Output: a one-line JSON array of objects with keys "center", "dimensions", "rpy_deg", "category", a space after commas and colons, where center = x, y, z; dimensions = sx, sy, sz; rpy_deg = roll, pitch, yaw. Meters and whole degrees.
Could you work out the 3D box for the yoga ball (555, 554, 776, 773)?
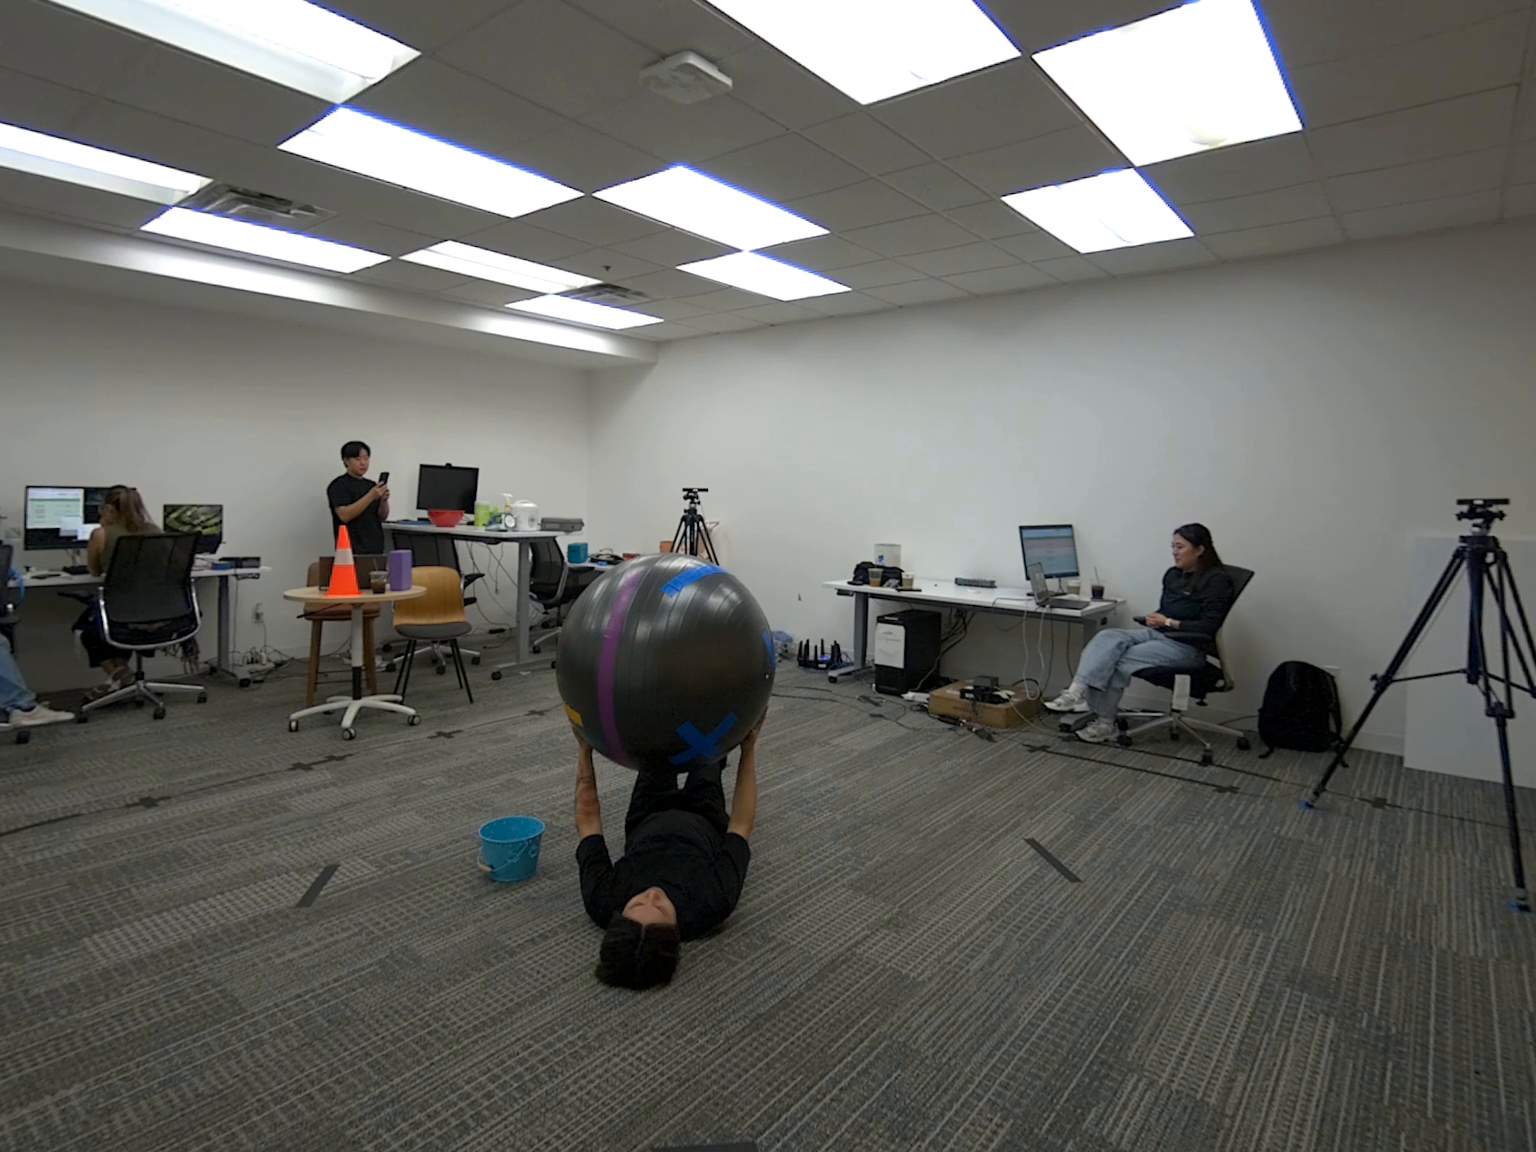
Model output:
[{"center": [-0.363, 0.304, 2.958], "dimensions": [0.757, 0.755, 0.762], "rpy_deg": [1, 4, -2], "category": "yoga ball"}]
